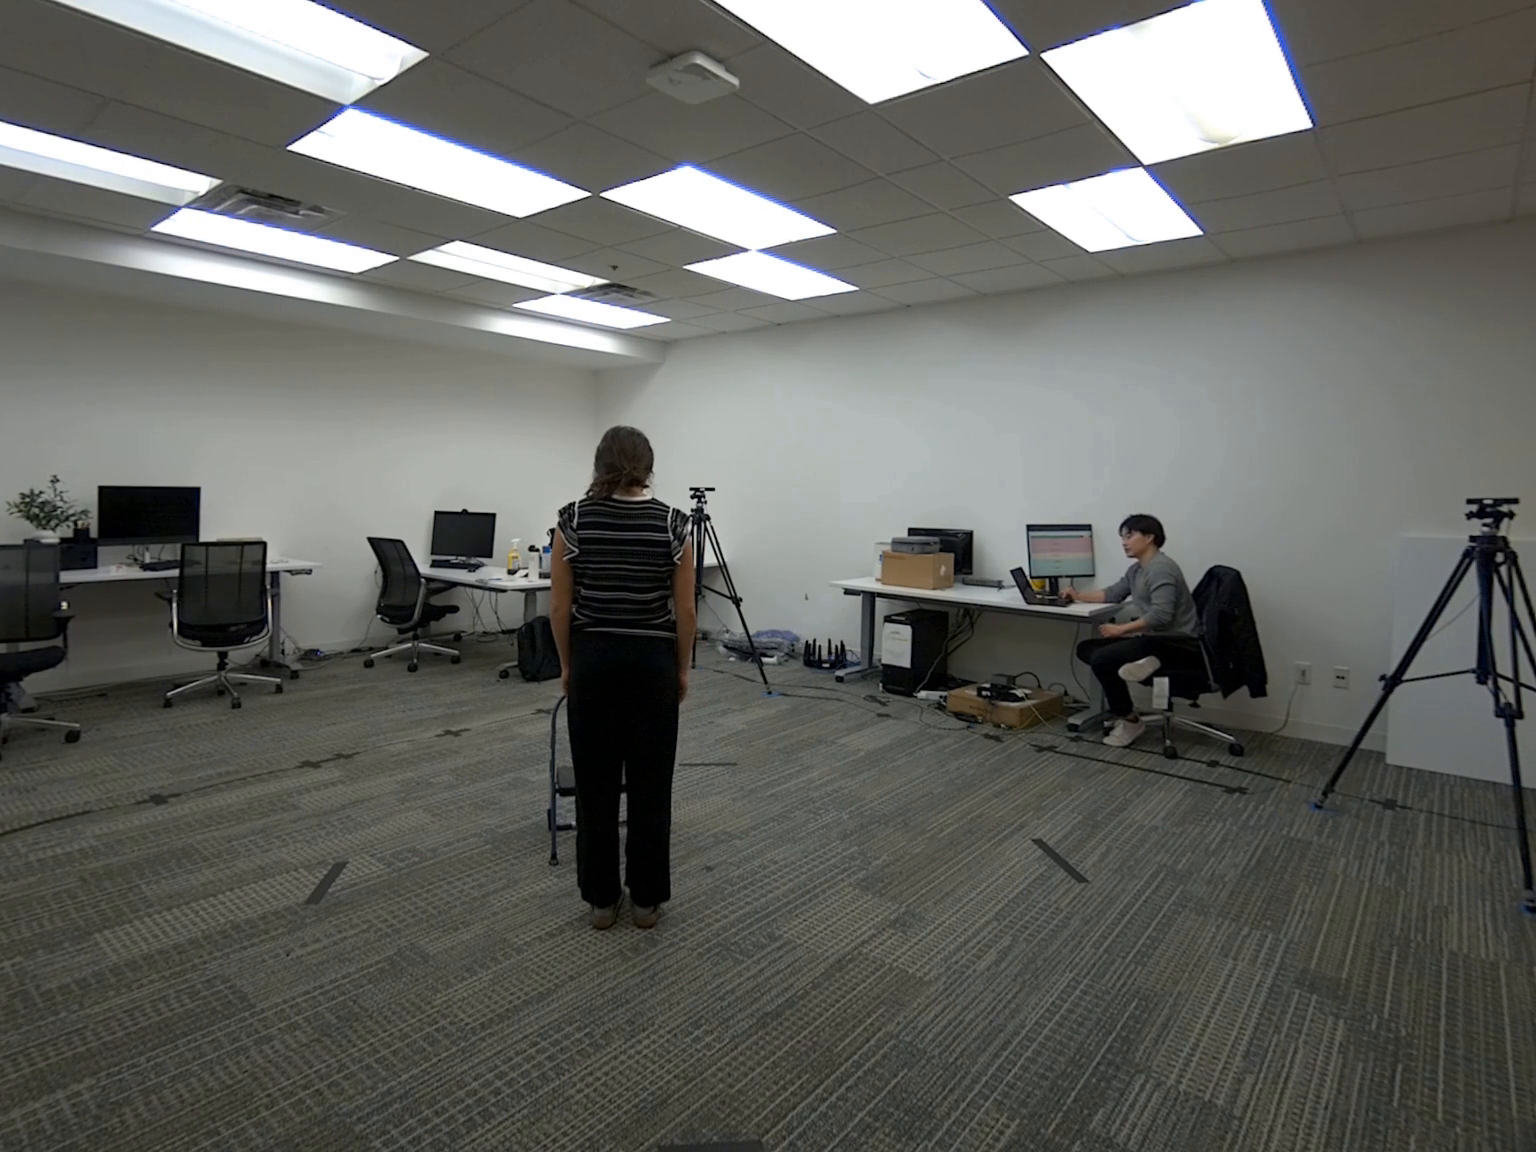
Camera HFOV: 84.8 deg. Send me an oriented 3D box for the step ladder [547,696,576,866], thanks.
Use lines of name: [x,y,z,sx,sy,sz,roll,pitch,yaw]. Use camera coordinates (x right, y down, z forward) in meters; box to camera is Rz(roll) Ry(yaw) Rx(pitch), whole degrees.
step ladder: [-0.651,0.736,3.312,0.424,0.604,0.356,1,3,-16]
